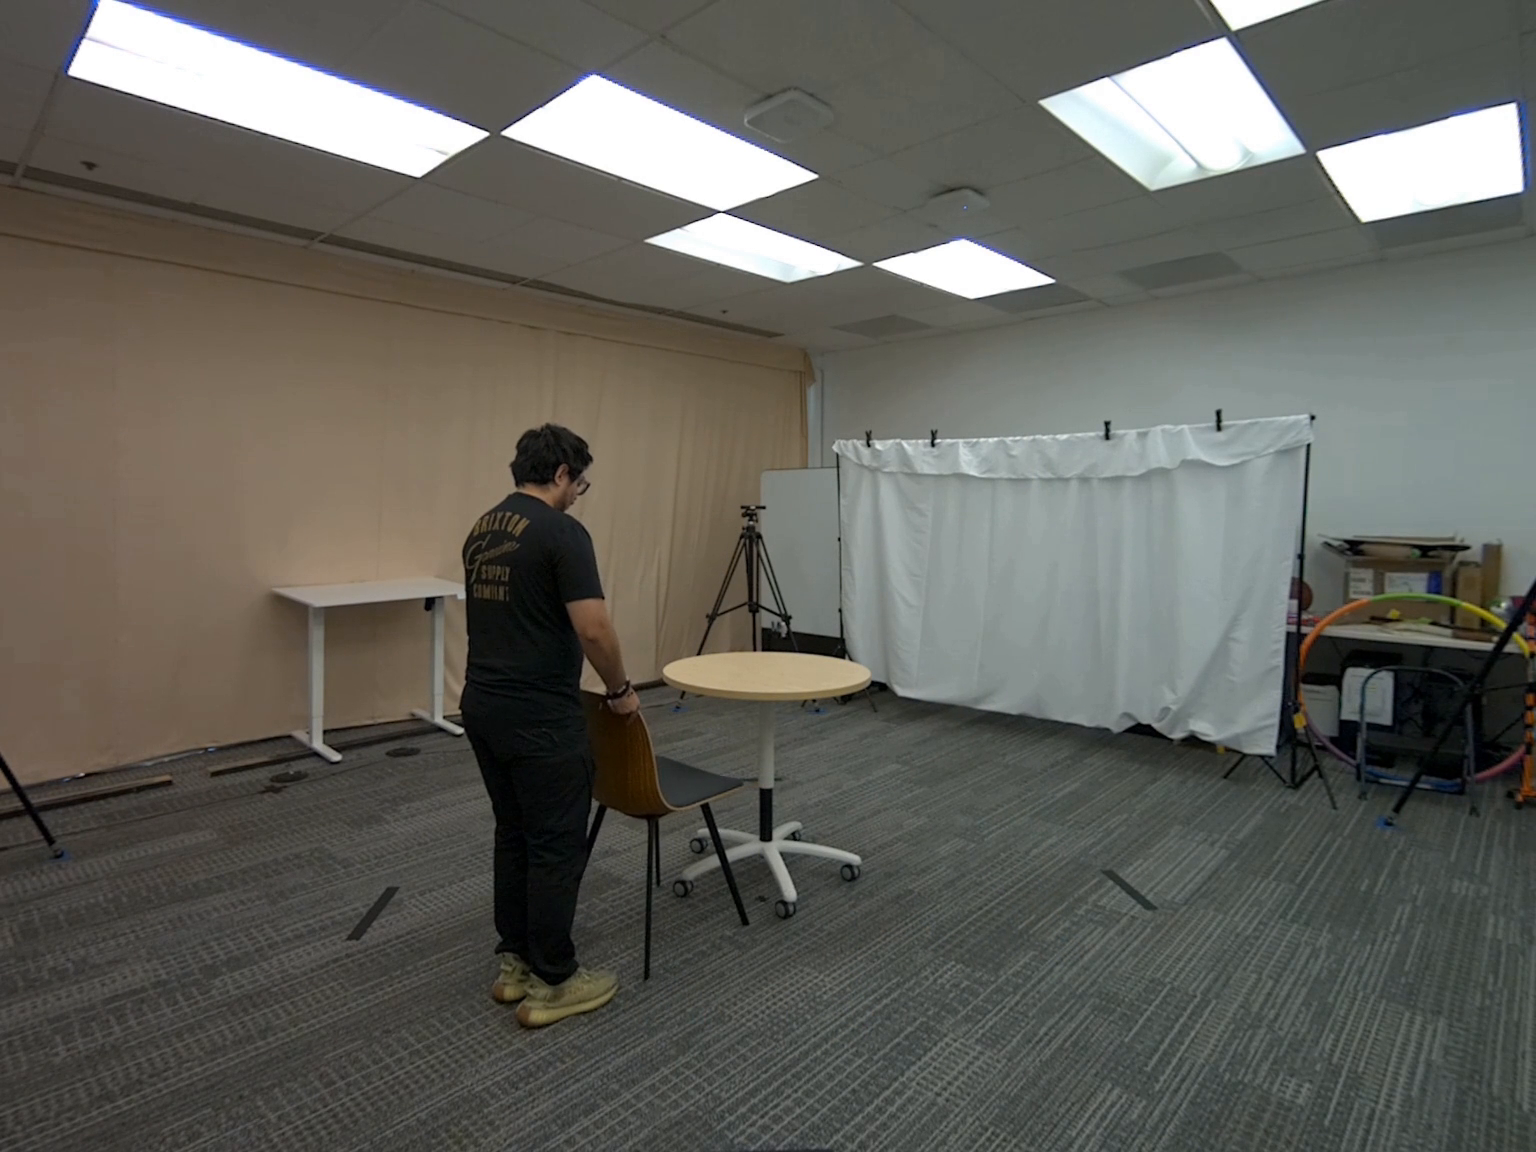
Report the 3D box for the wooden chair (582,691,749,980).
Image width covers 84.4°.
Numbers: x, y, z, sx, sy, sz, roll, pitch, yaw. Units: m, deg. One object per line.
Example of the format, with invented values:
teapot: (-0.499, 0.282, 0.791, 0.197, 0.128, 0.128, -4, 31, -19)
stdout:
wooden chair: (-0.370, 0.736, 2.767, 0.494, 0.873, 0.508, 2, 8, 43)
